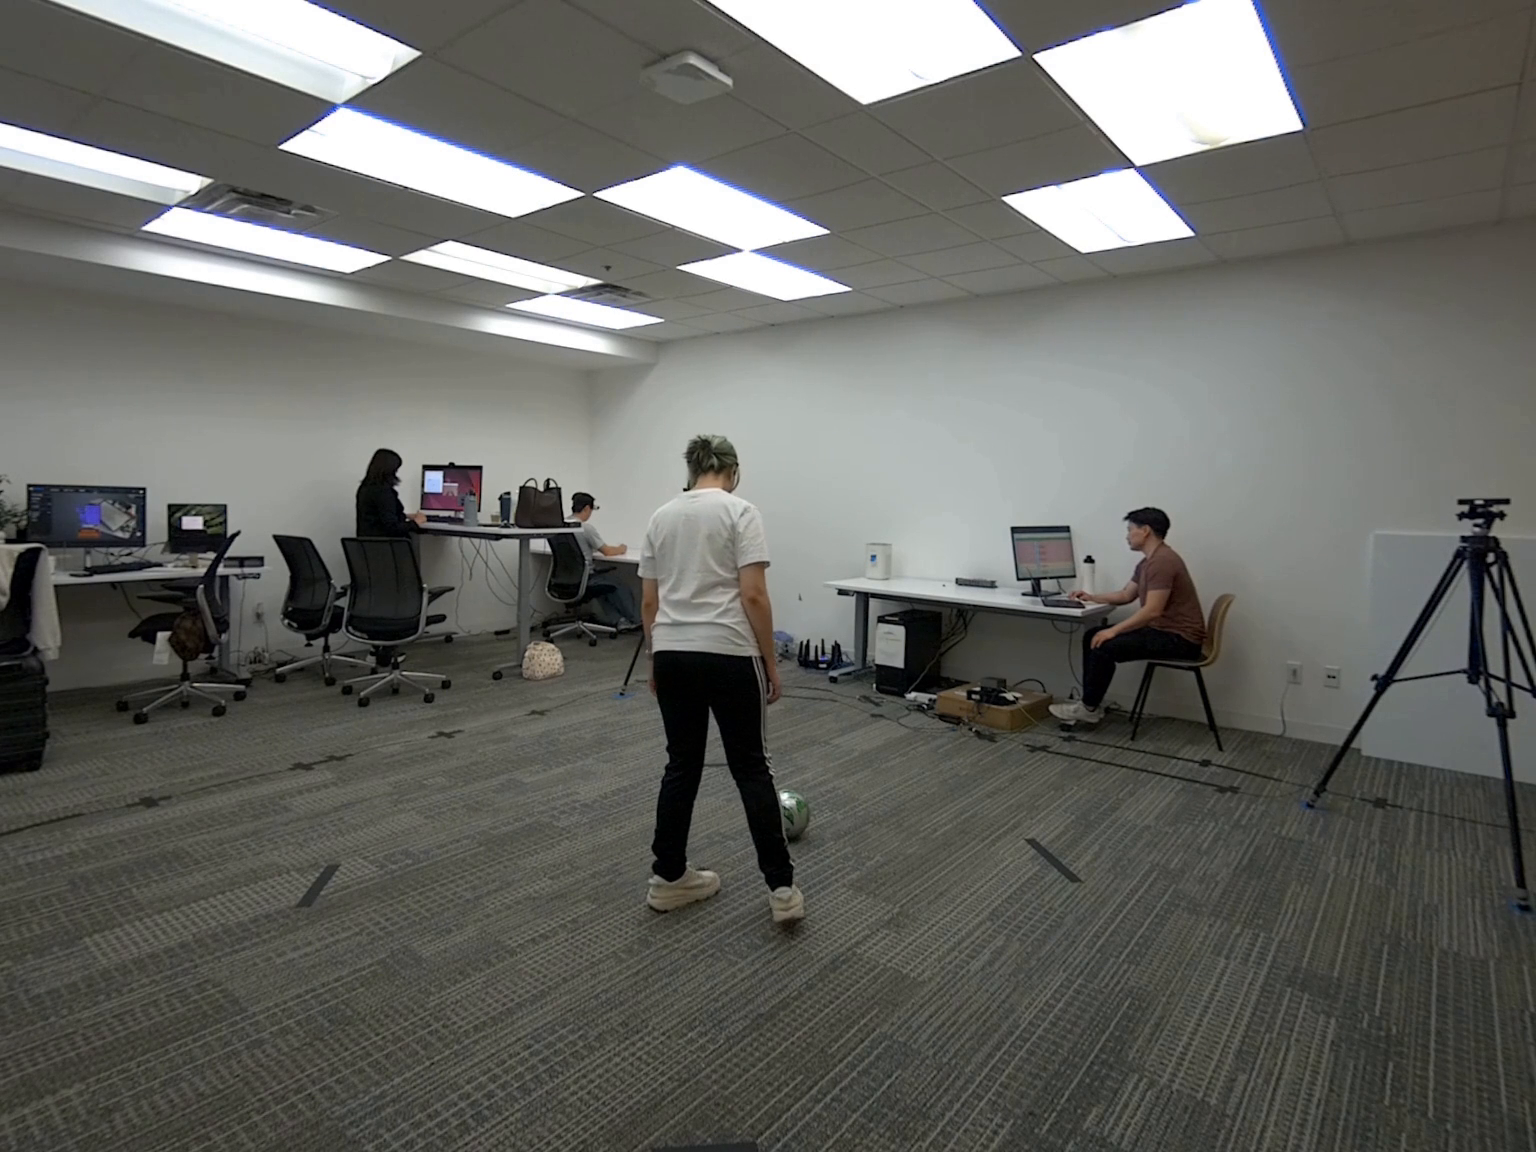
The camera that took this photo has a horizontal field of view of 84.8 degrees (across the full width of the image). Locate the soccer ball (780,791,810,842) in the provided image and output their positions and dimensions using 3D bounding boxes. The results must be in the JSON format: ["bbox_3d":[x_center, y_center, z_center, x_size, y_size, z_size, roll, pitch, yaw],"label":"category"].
[{"bbox_3d":[0.070,0.949,3.414,0.187,0.187,0.188,1,4,-2],"label":"soccer ball"}]
